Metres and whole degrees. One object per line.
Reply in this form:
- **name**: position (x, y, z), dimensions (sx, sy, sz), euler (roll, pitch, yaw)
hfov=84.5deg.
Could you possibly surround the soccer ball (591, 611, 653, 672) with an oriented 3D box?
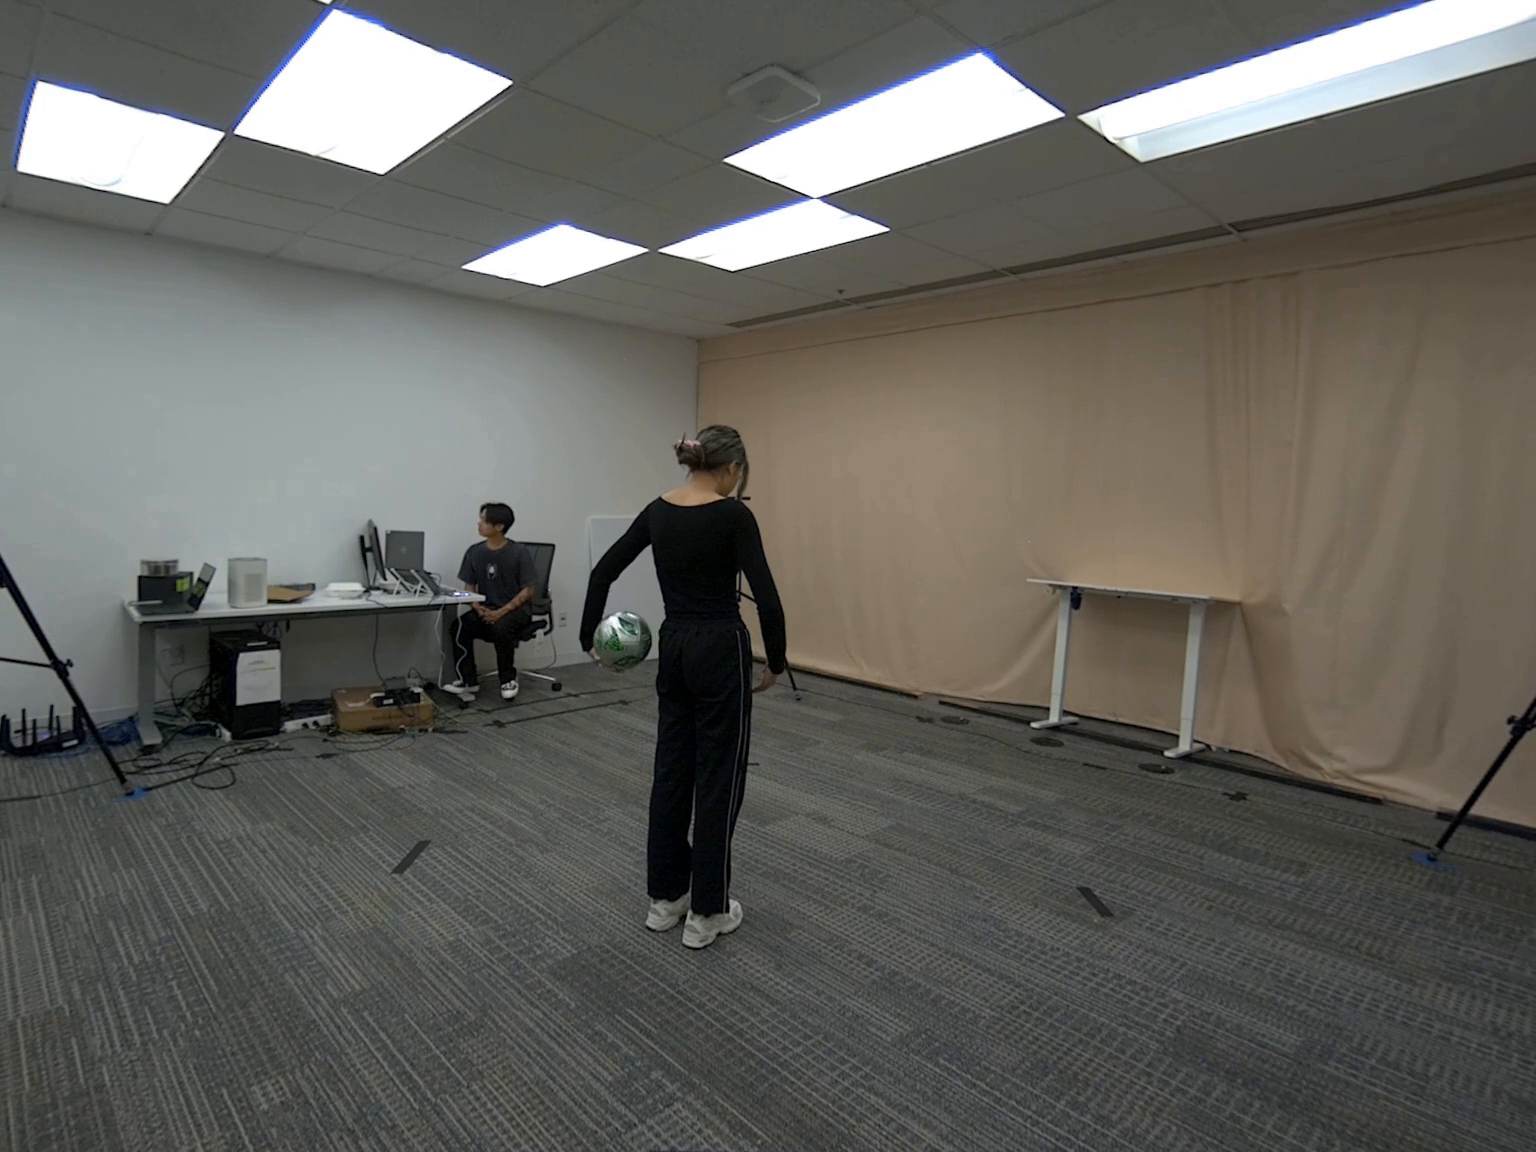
- **soccer ball**: position (-0.463, 0.209, 2.702), dimensions (0.187, 0.187, 0.188), euler (1, 4, -1)
